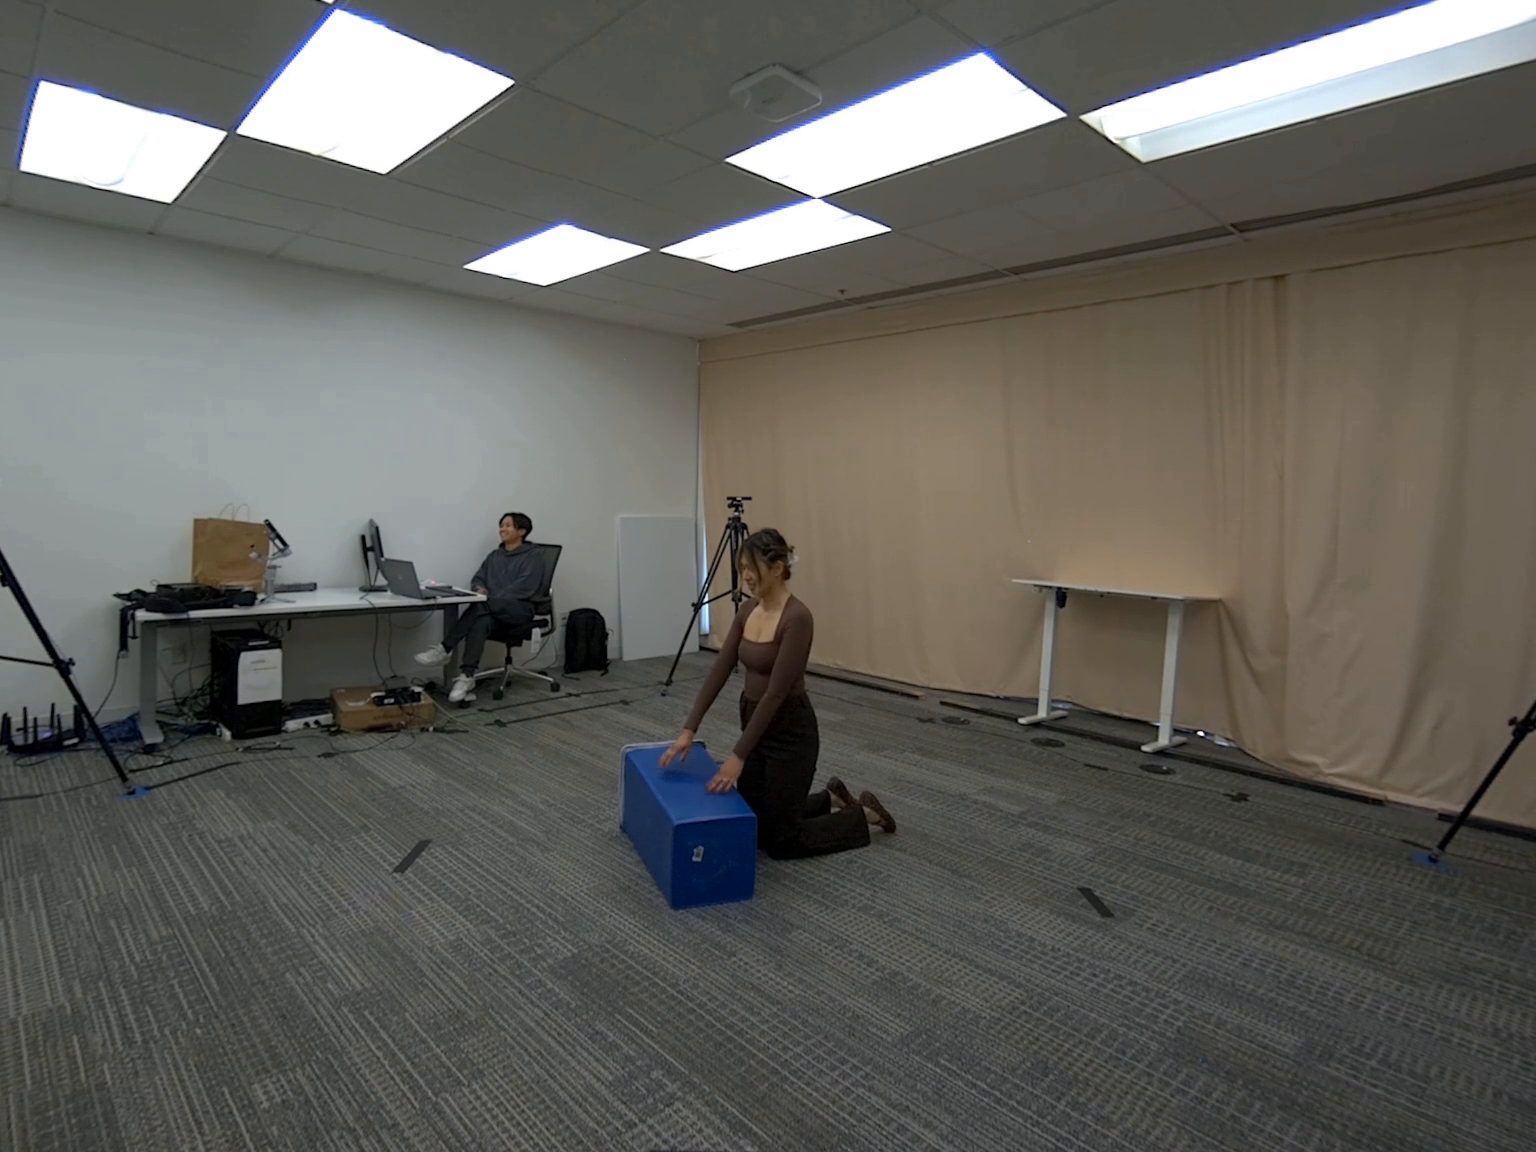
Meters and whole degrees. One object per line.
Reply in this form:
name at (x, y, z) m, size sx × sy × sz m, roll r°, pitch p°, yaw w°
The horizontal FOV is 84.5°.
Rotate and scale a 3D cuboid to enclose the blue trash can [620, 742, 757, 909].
blue trash can at (-0.323, 0.919, 3.196) m, size 0.368 × 0.376 × 0.727 m, roll 1°, pitch 6°, yaw -20°
